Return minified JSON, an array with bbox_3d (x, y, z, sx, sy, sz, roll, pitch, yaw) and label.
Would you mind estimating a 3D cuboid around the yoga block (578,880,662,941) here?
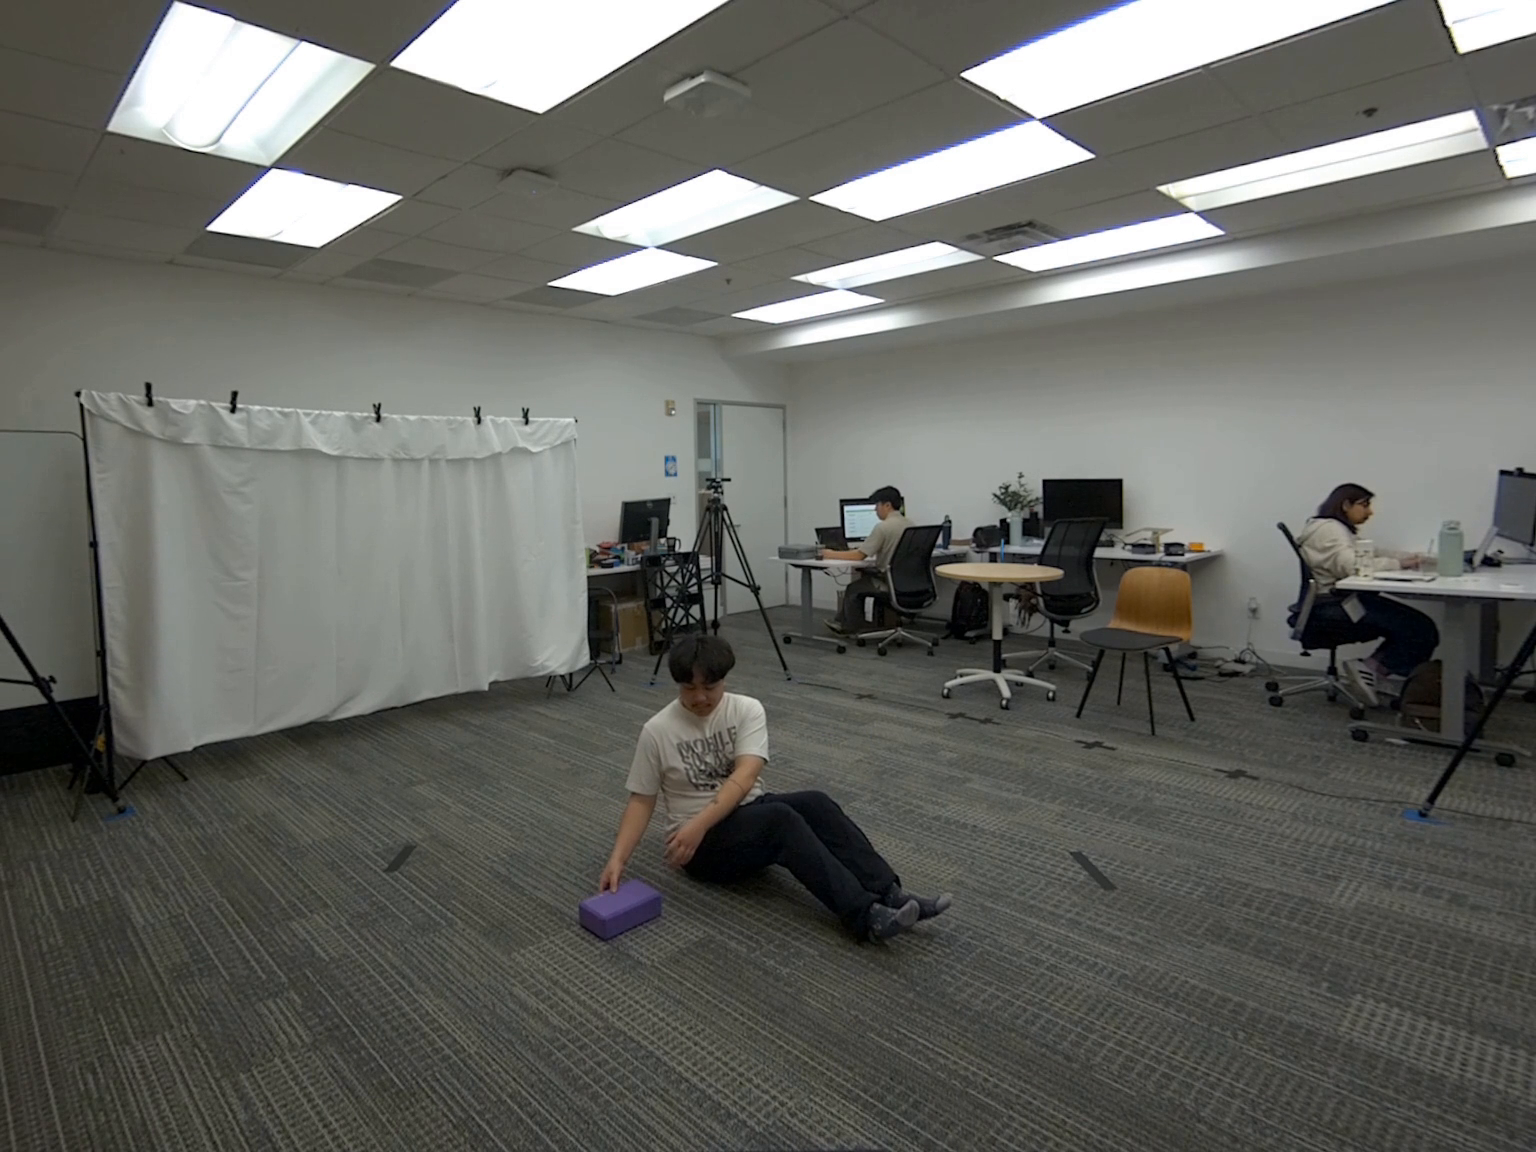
[{"bbox_3d":[-0.468,1.056,2.714,0.154,0.076,0.224,7,11,40],"label":"yoga block"}]
